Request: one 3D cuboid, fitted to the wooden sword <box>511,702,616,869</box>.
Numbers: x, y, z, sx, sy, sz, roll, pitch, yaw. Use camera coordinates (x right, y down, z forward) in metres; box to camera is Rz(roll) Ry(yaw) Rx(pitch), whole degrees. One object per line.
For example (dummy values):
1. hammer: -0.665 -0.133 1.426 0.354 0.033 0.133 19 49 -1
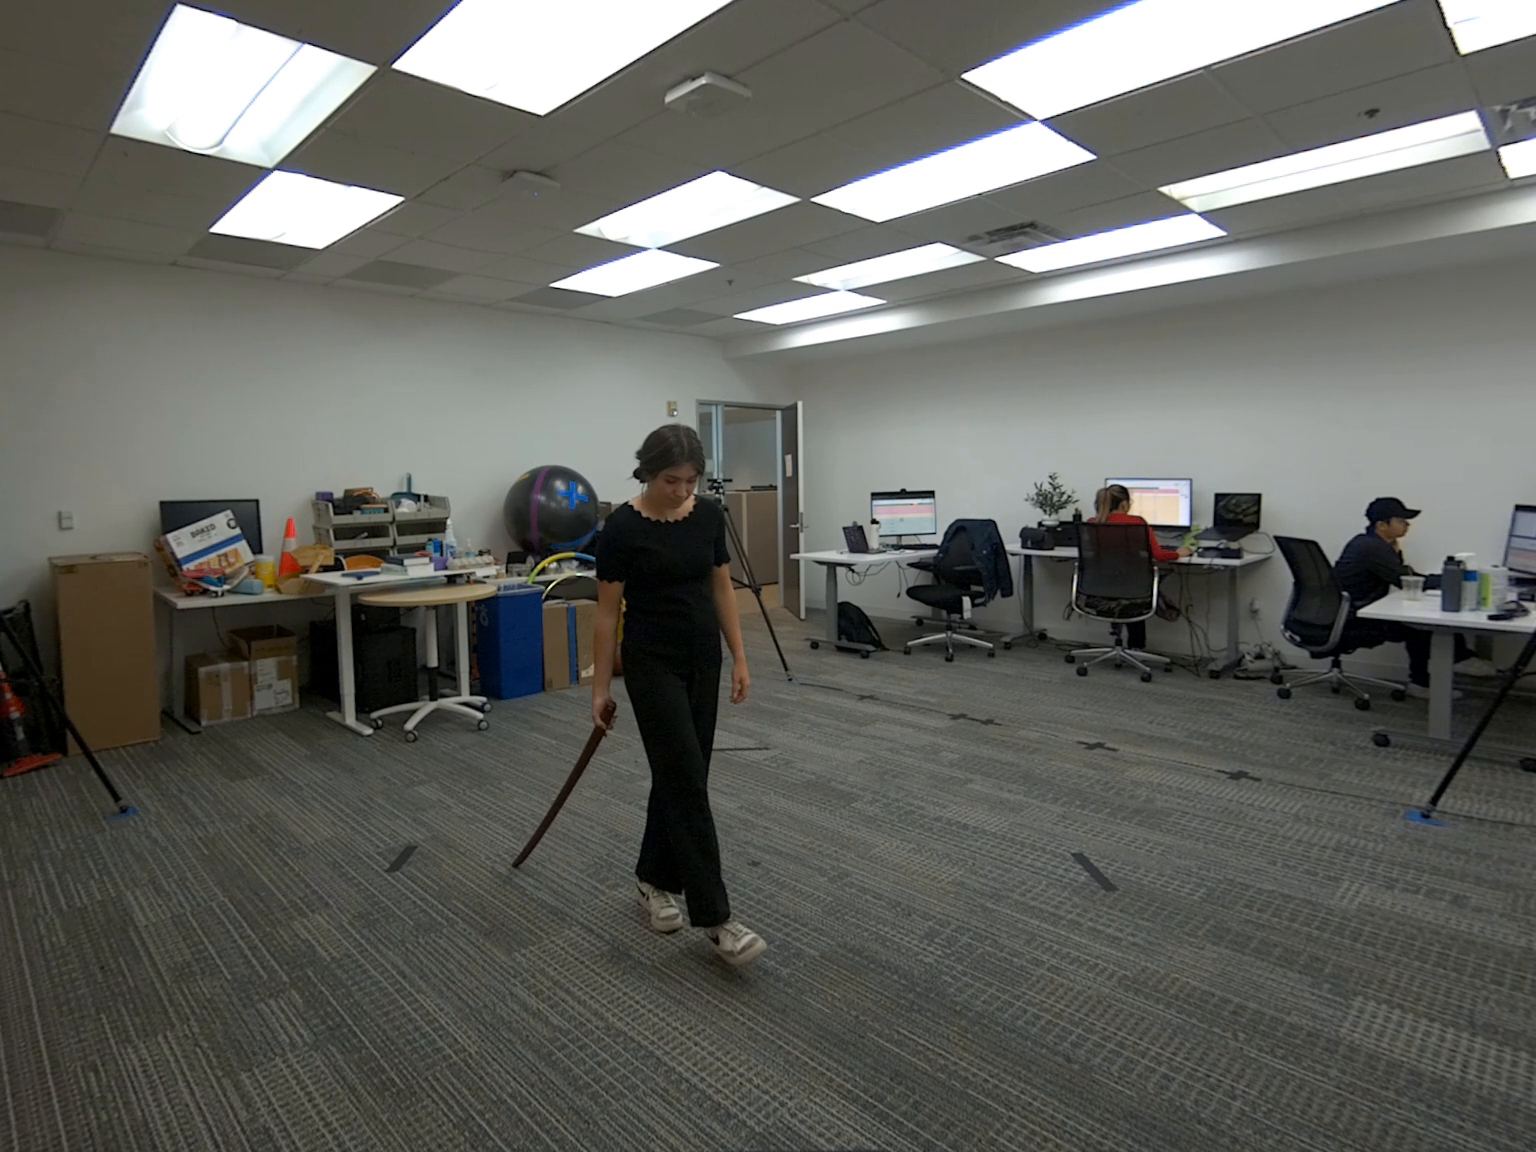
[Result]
1. wooden sword: -0.682 0.734 2.823 0.050 1.019 0.025 21 39 -20
